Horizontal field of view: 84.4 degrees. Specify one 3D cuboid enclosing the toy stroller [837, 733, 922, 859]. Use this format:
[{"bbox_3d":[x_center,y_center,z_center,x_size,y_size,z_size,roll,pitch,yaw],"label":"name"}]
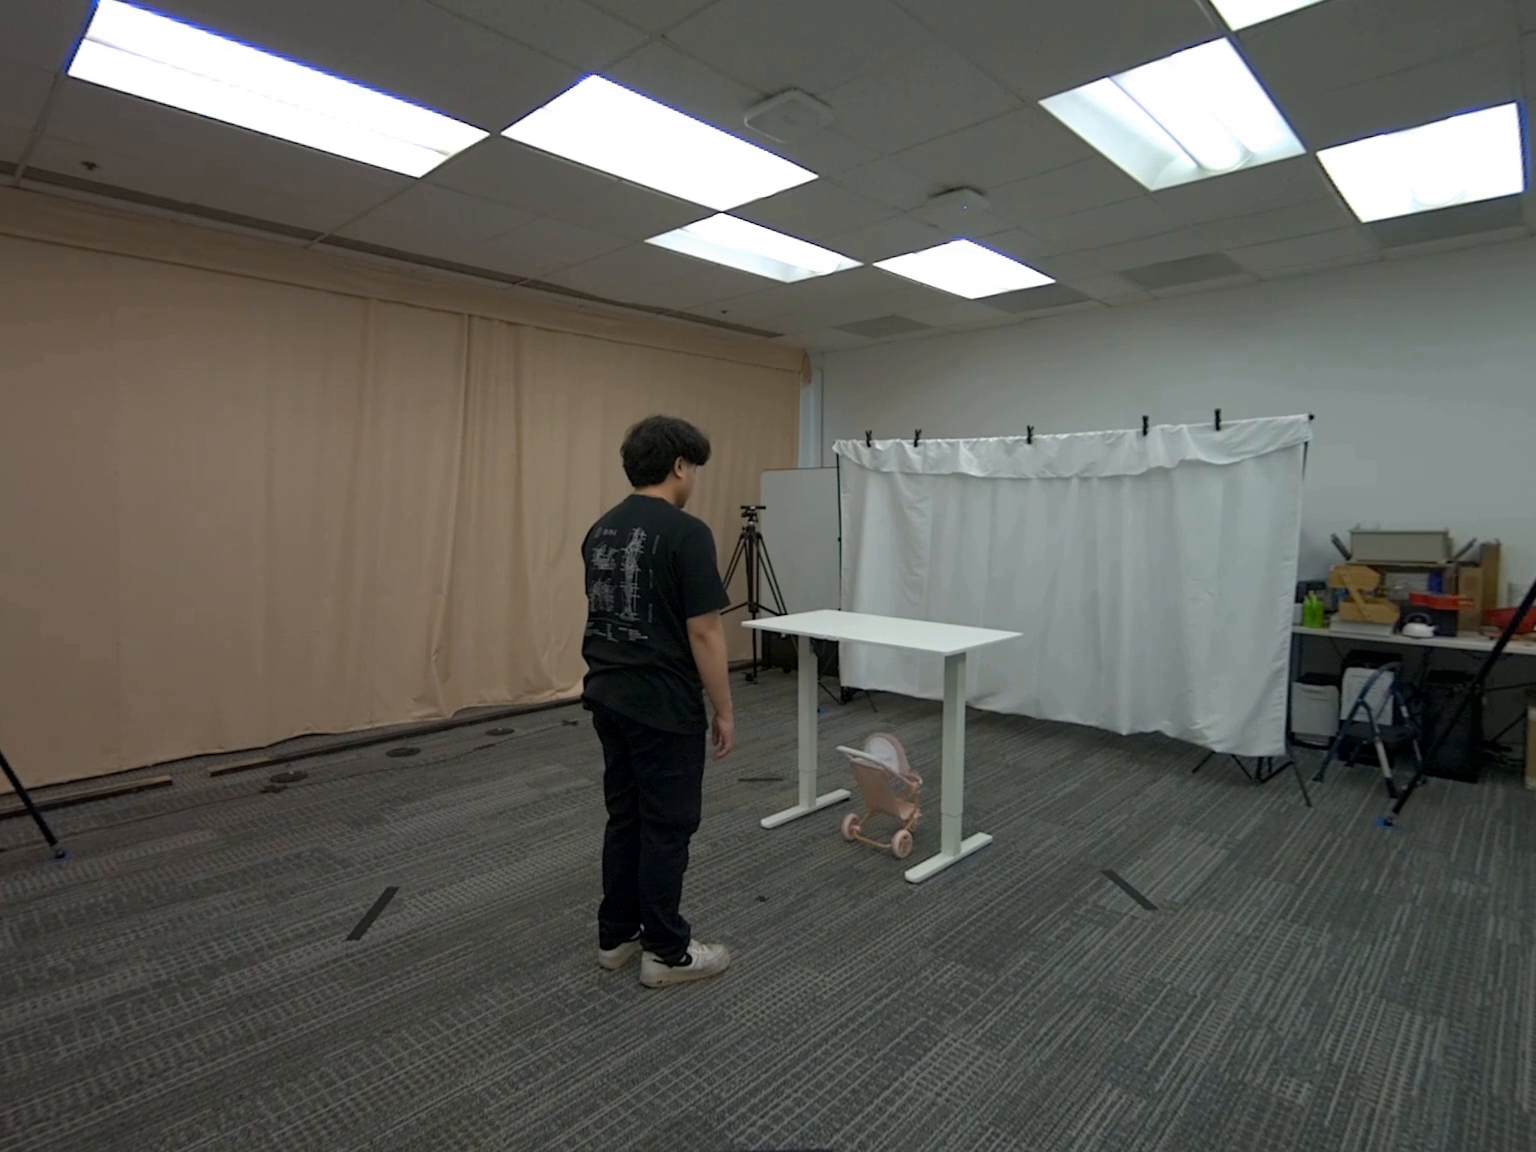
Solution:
[{"bbox_3d":[0.490,0.878,3.454,0.334,0.529,0.291,-23,18,-40],"label":"toy stroller"}]
